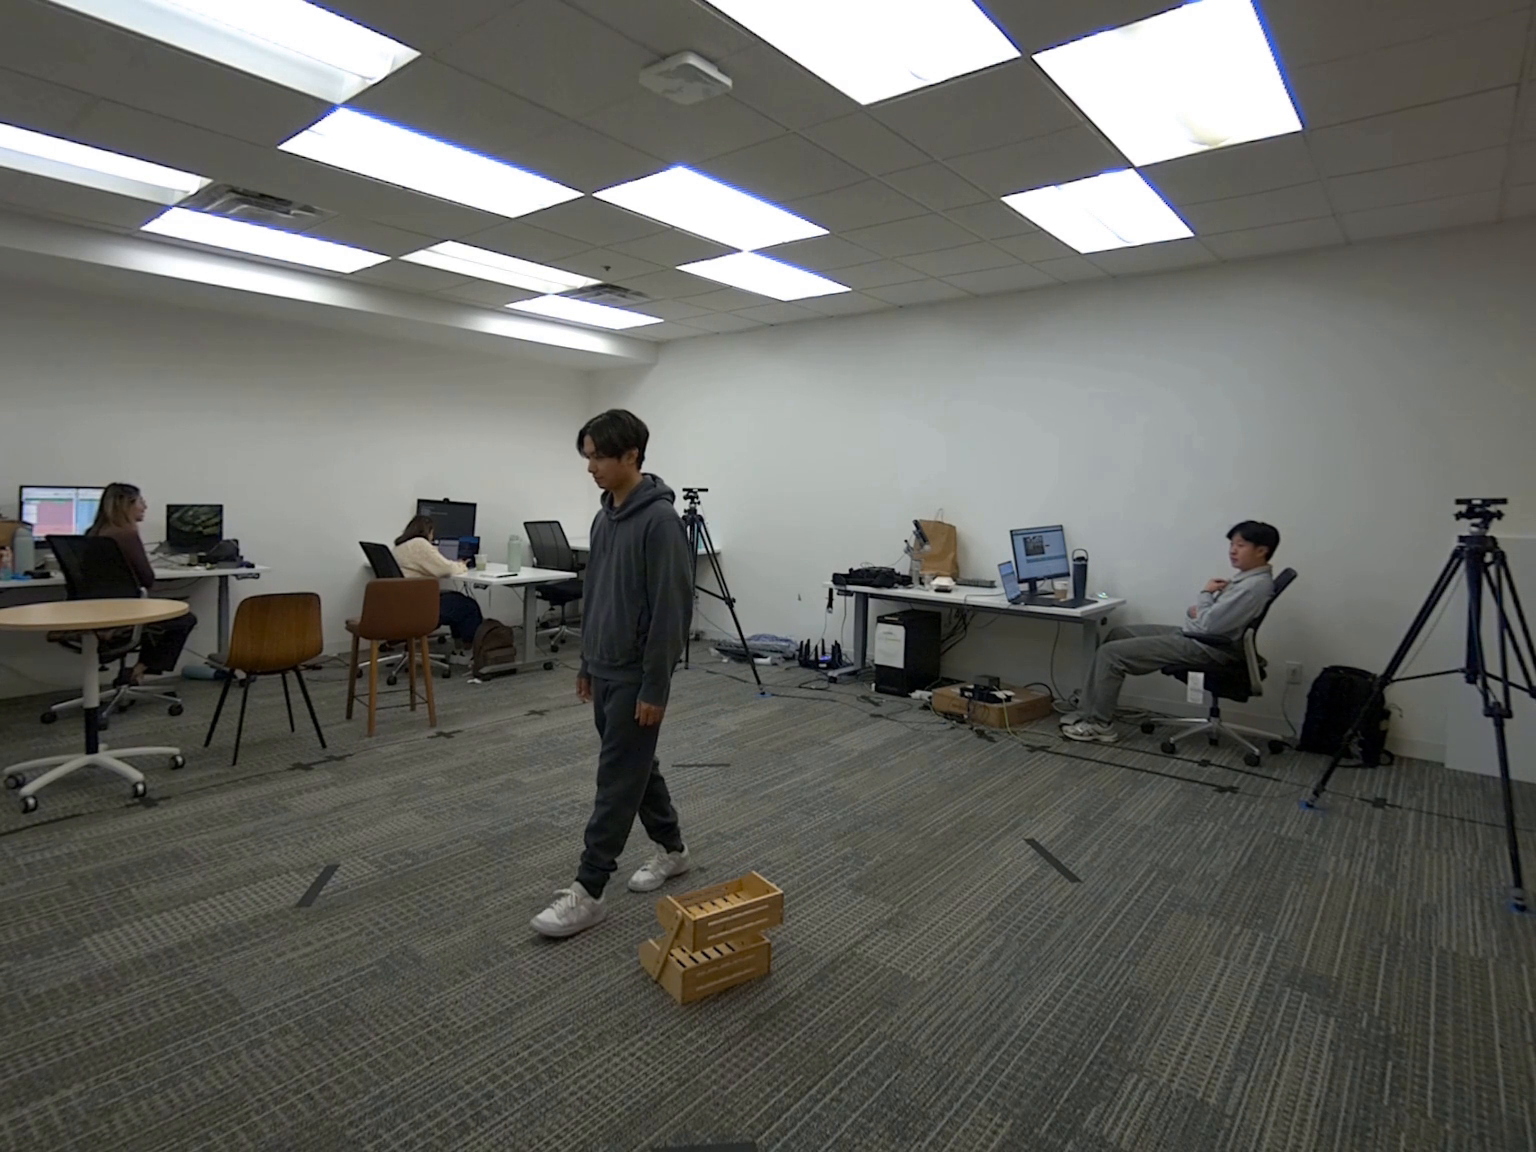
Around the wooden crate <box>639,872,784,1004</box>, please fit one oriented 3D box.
[{"bbox_3d":[-0.177,1.003,2.437,0.315,0.272,0.312,-2,6,-36],"label":"wooden crate"}]
